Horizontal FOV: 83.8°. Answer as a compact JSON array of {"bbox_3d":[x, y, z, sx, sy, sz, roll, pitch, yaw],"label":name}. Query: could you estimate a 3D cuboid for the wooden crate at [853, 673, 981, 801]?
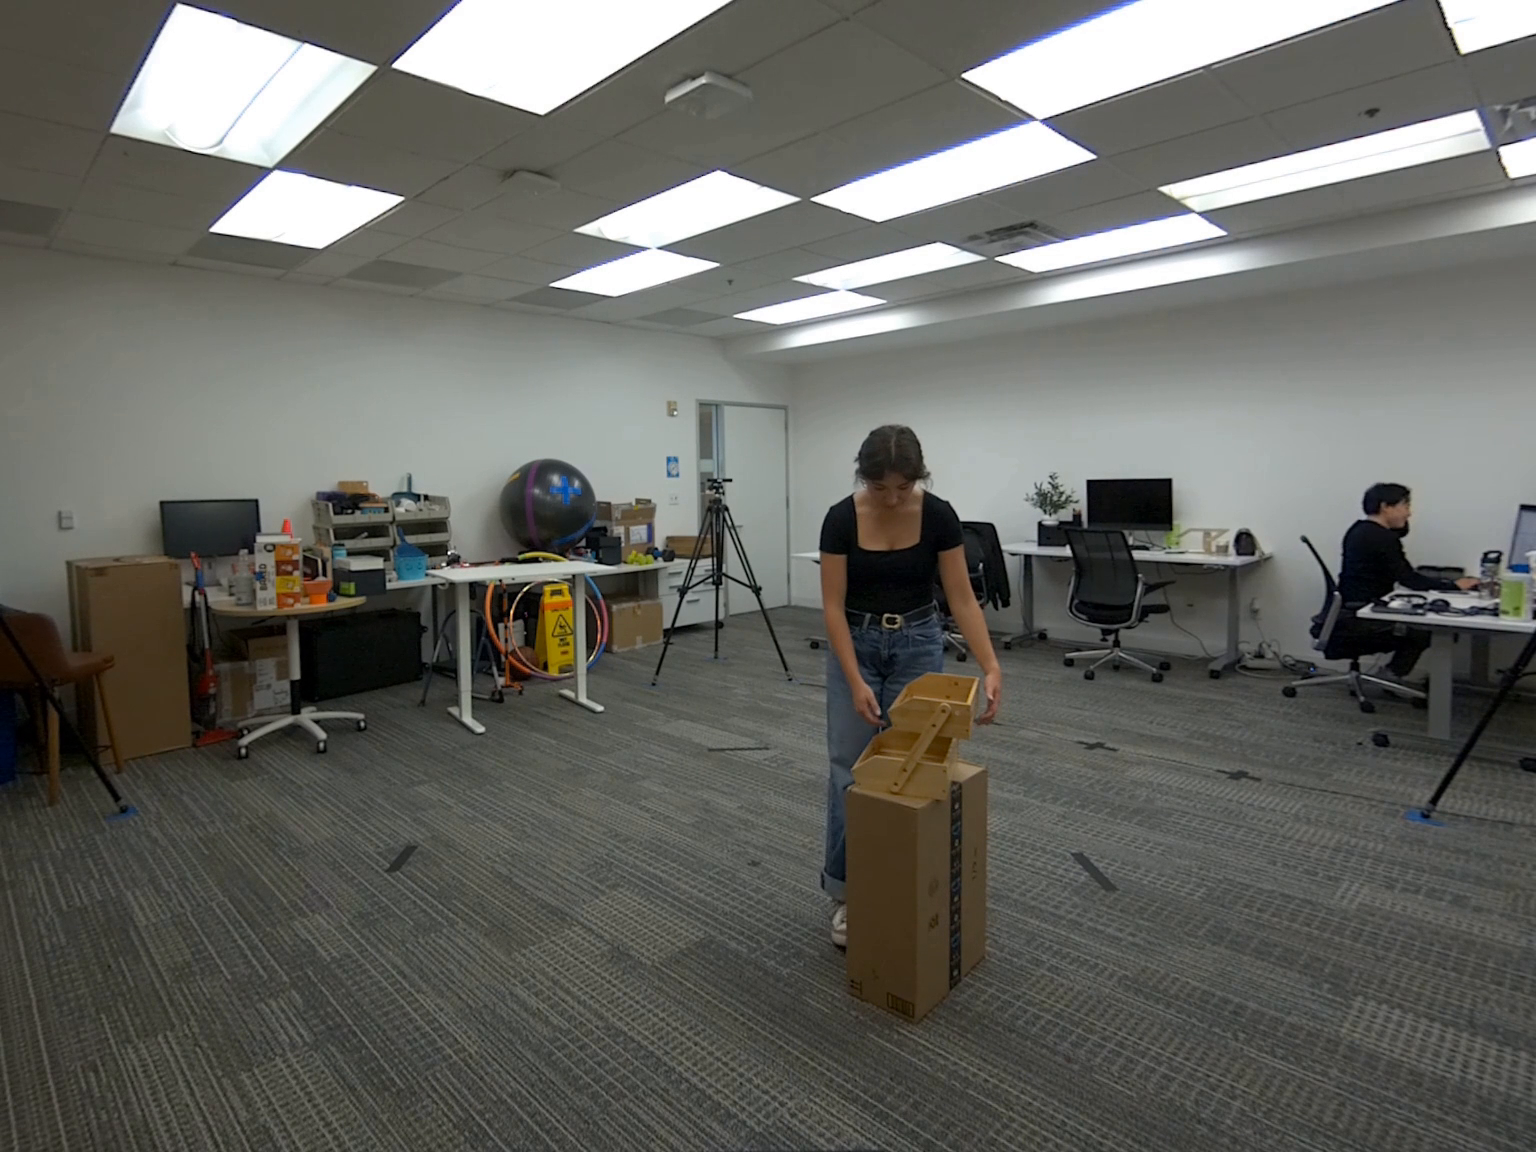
[{"bbox_3d":[0.398,0.422,2.373,0.308,0.272,0.320,3,6,20],"label":"wooden crate"}]
